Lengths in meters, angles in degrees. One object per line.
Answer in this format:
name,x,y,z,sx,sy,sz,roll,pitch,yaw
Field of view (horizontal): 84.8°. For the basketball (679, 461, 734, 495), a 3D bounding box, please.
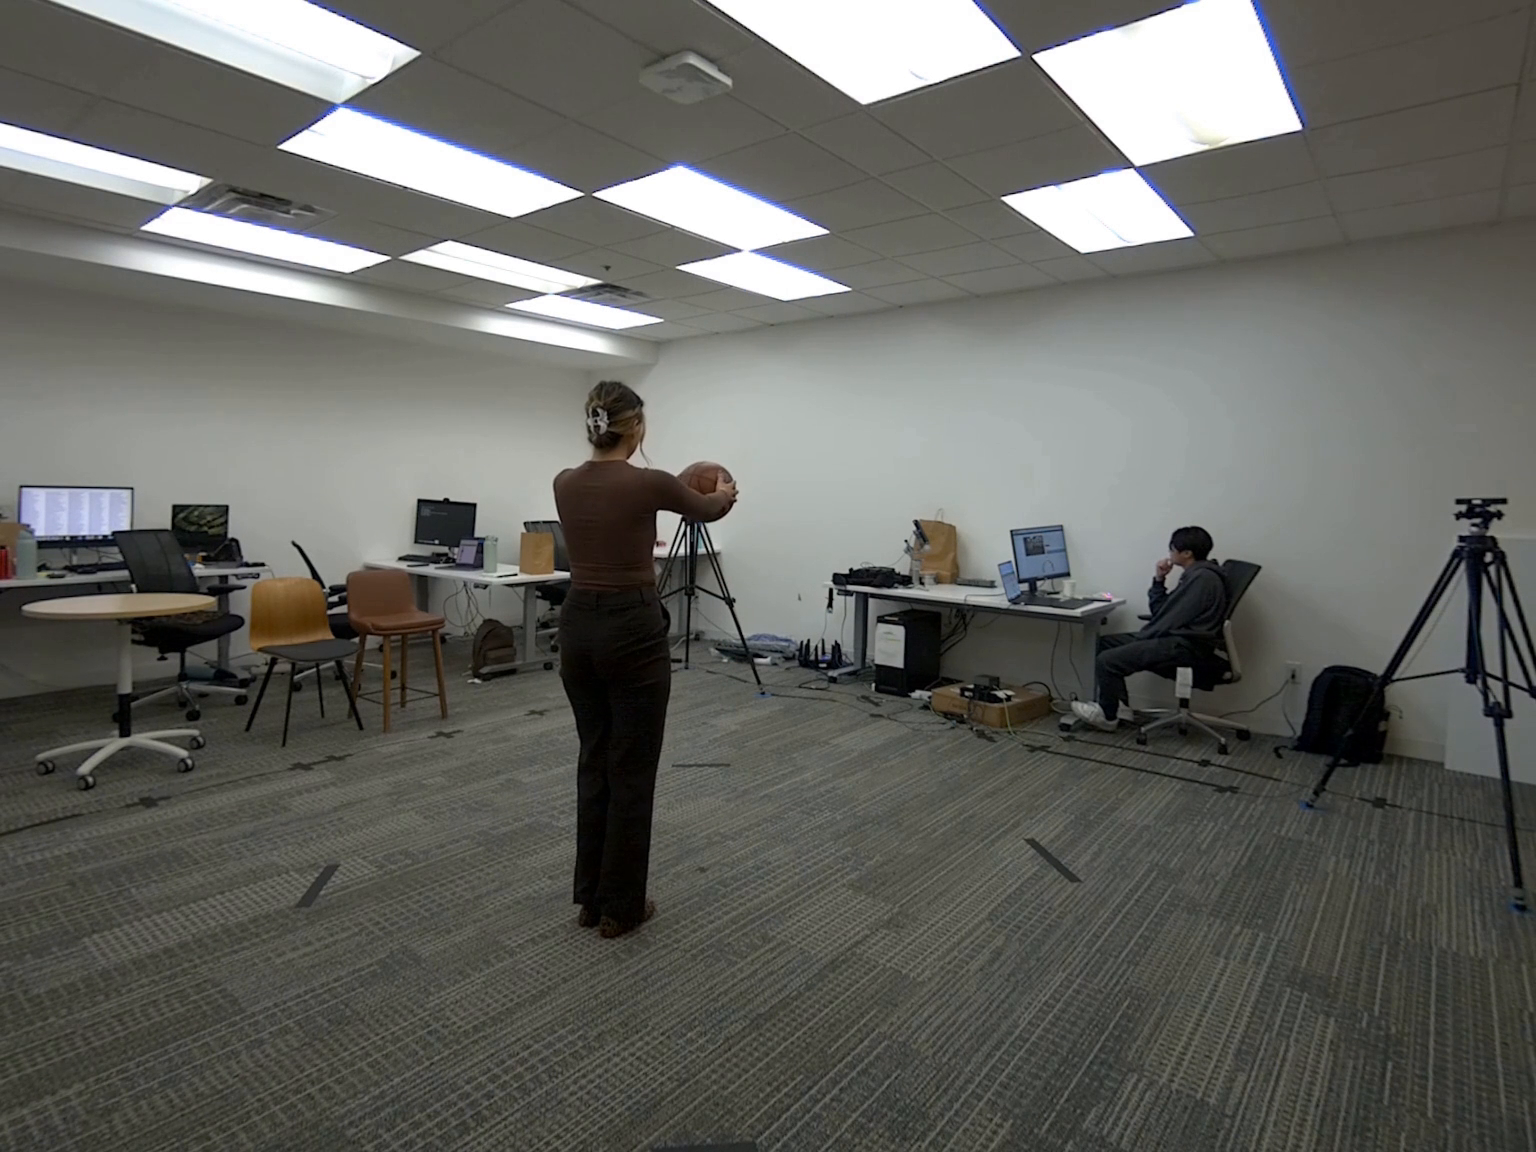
basketball,-0.249,-0.320,3.279,0.235,0.235,0.237,1,4,-2
